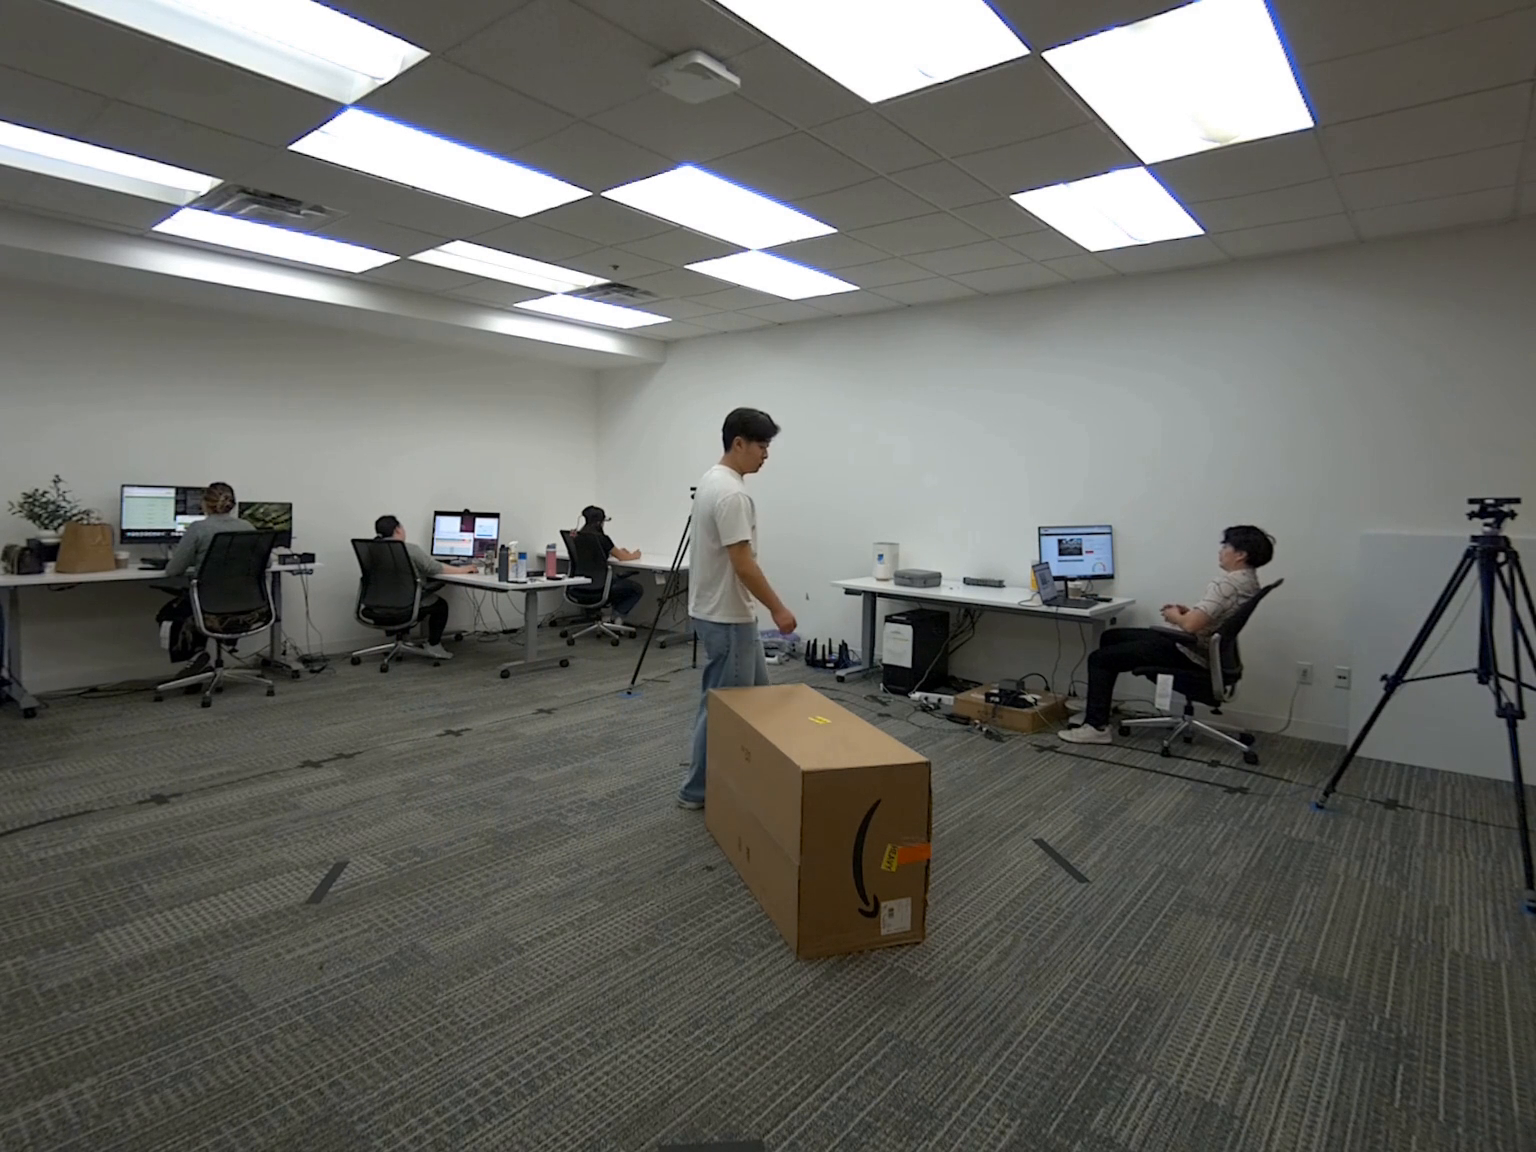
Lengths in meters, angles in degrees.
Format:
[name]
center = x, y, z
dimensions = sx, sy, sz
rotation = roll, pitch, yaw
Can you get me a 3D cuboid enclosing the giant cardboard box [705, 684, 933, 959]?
[giant cardboard box]
center = 0.116, 0.790, 3.039
dimensions = 0.418, 0.575, 1.049
rotation = 0, 5, -19
